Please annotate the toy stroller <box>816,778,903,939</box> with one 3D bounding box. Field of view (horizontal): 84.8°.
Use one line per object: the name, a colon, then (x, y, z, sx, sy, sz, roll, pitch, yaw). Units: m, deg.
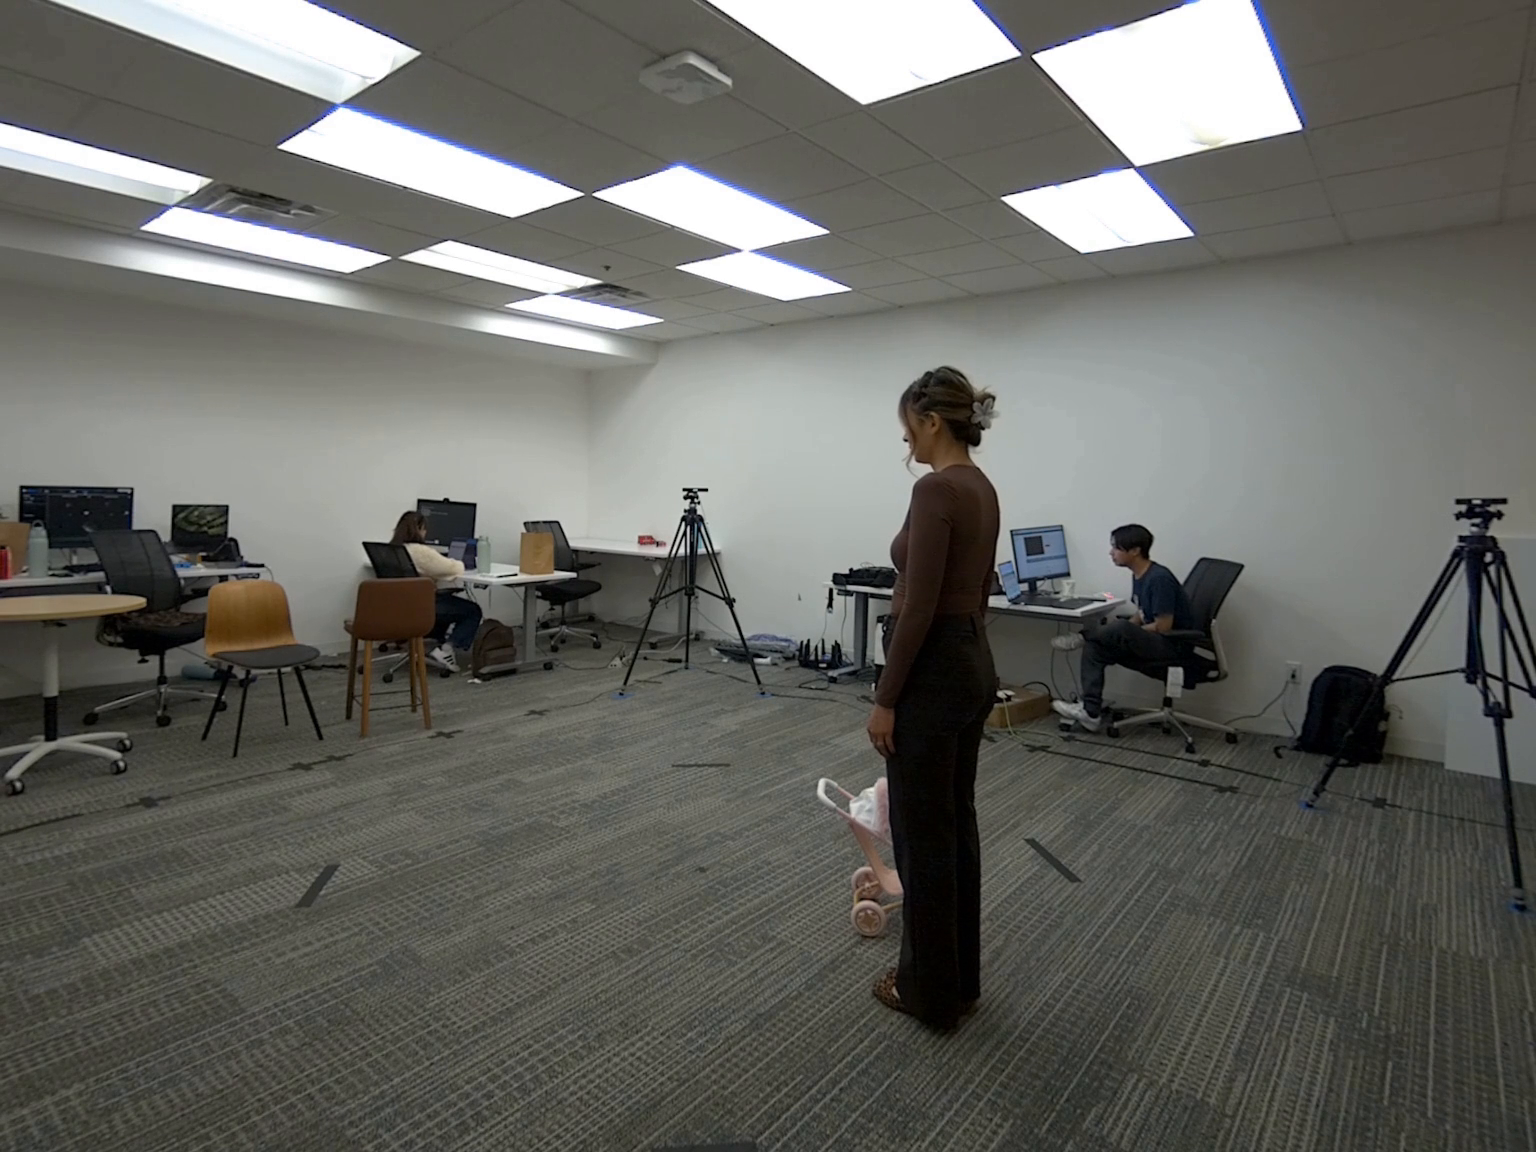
toy stroller: (0.389, 0.896, 2.764, 0.345, 0.535, 0.278, -15, 0, 13)
